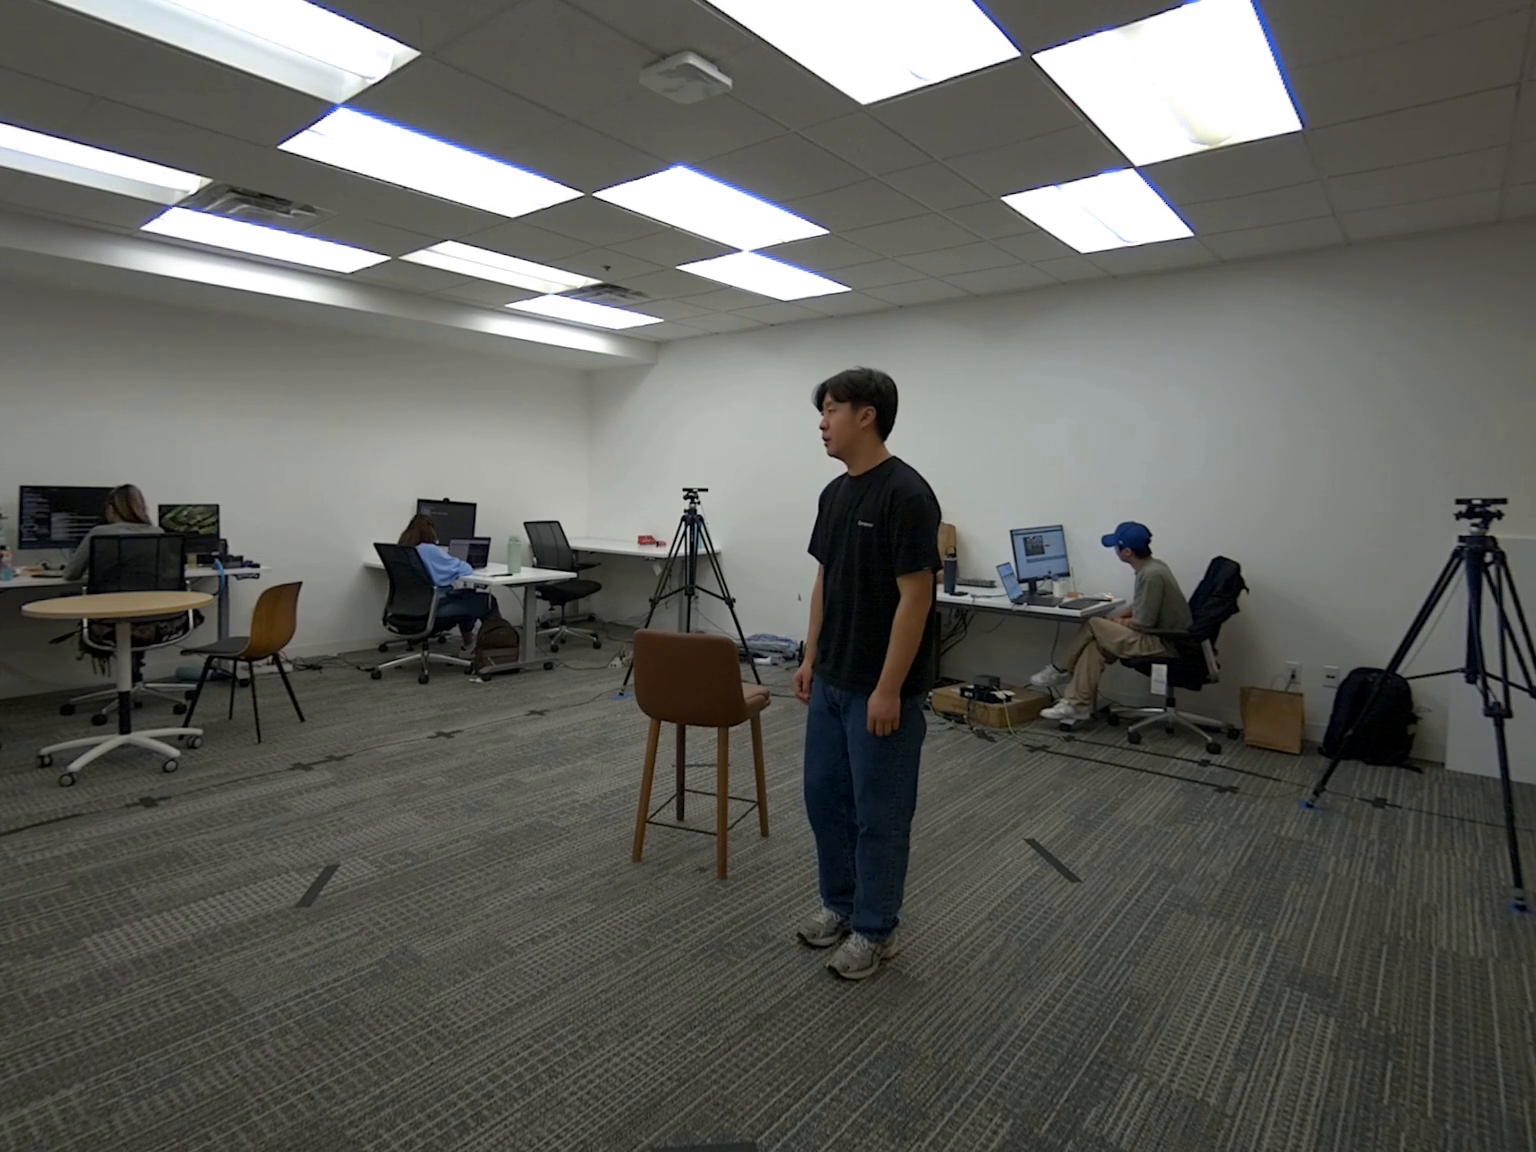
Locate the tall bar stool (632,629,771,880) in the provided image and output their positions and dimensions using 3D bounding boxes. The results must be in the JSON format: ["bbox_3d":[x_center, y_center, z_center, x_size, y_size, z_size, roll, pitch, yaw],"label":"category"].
[{"bbox_3d":[-0.268,0.616,3.282,0.467,0.886,0.459,2,5,22],"label":"tall bar stool"}]
